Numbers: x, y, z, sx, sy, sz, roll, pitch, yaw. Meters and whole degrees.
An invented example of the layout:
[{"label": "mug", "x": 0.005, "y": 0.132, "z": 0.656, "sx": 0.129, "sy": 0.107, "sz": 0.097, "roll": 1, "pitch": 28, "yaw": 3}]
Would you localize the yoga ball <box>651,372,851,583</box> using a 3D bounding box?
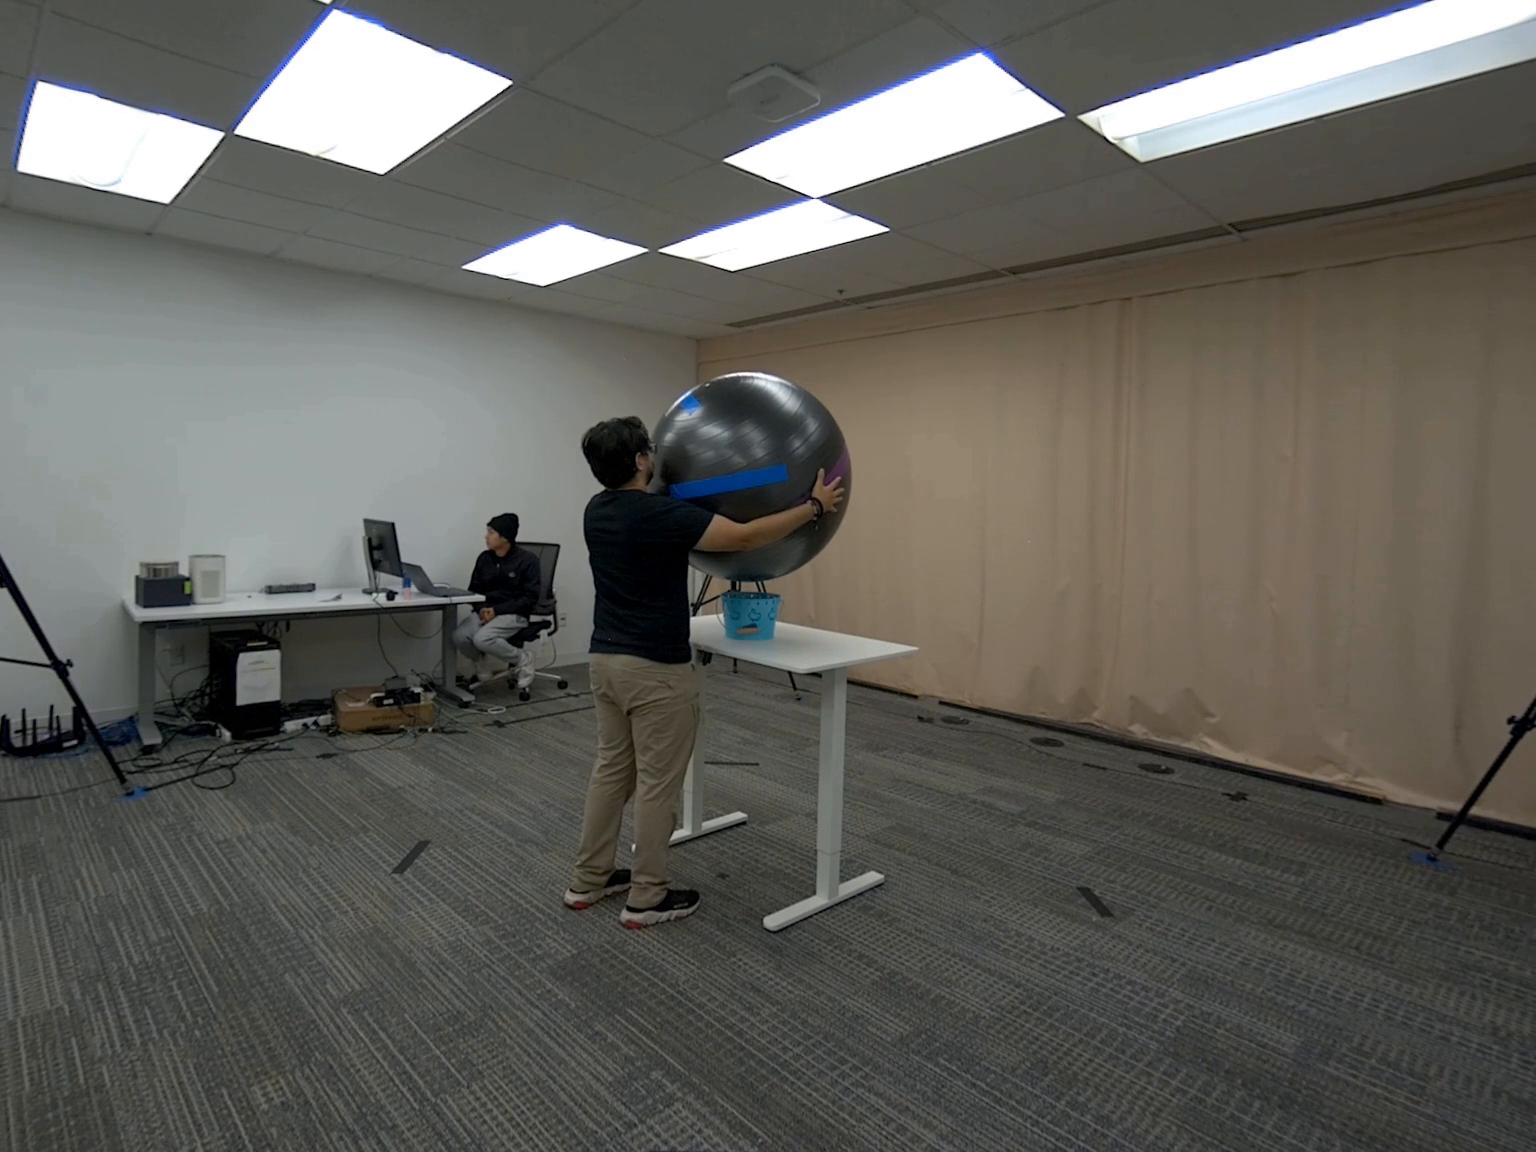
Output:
[{"label": "yoga ball", "x": -0.075, "y": -0.351, "z": 3.063, "sx": 0.757, "sy": 0.756, "sz": 0.761, "roll": 1, "pitch": 4, "yaw": -1}]
